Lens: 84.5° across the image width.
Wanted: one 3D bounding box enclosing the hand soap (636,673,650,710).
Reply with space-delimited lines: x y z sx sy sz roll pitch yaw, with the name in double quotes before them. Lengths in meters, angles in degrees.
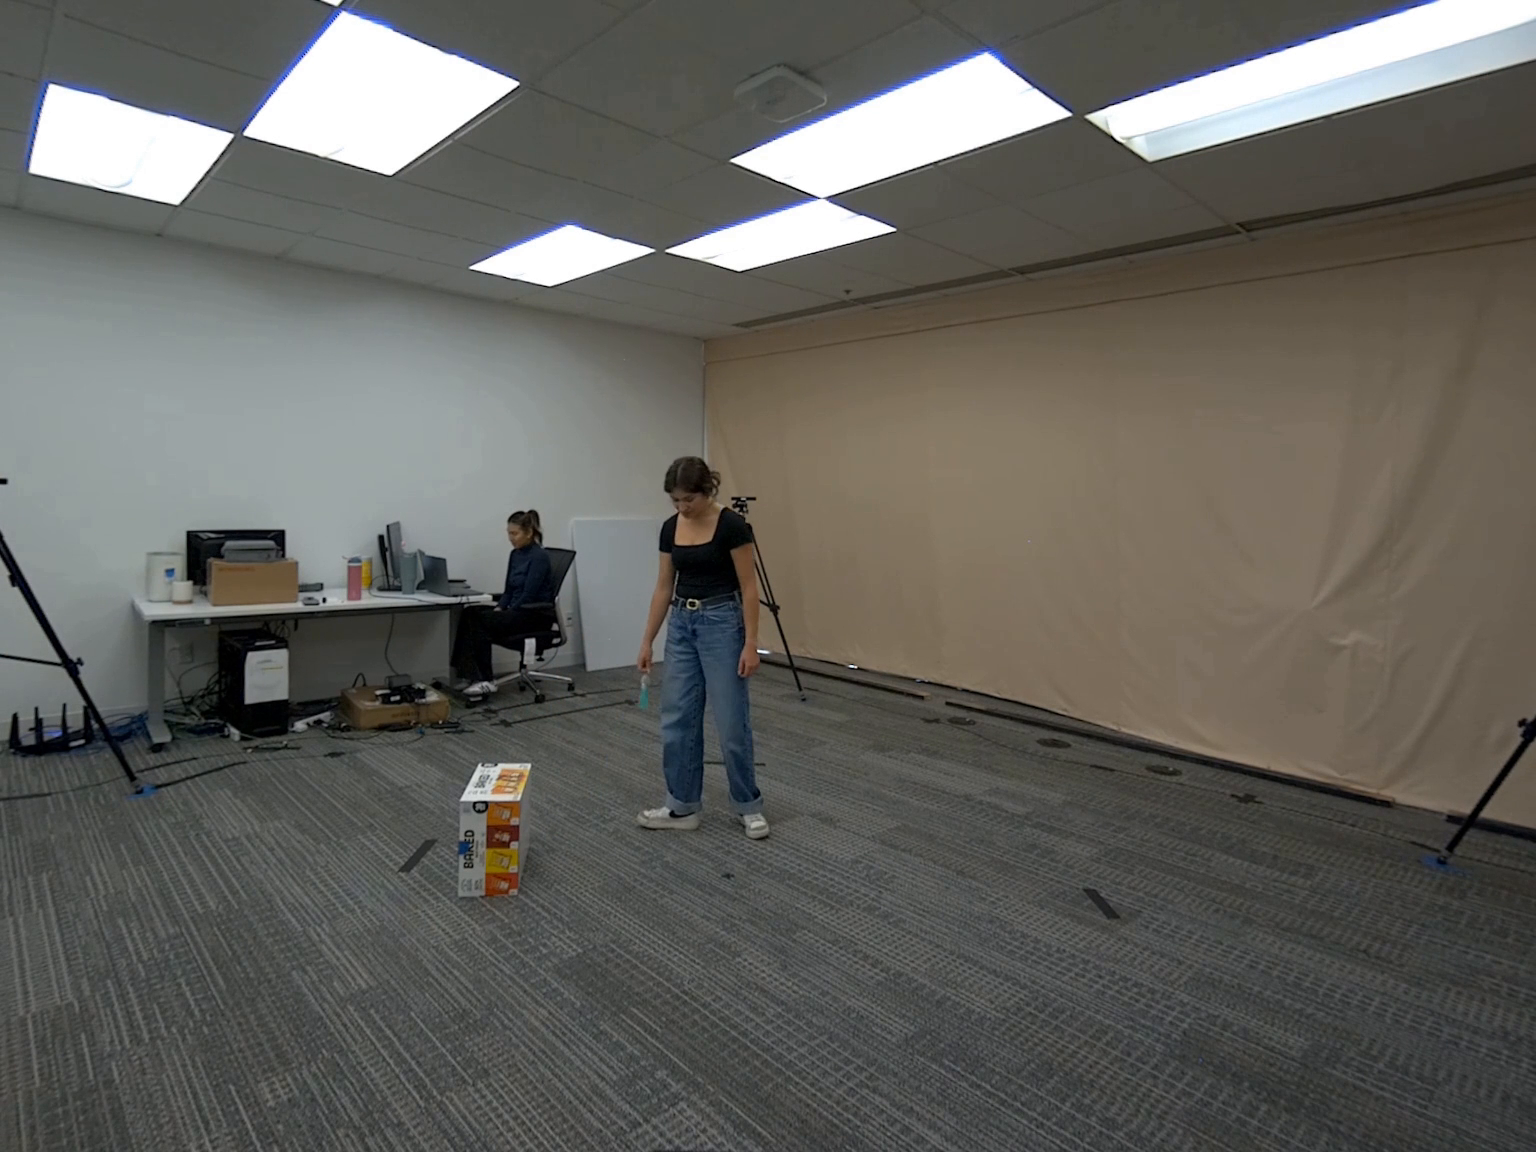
"hand soap" -0.522 0.466 3.535 0.043 0.168 0.084 6 4 0
